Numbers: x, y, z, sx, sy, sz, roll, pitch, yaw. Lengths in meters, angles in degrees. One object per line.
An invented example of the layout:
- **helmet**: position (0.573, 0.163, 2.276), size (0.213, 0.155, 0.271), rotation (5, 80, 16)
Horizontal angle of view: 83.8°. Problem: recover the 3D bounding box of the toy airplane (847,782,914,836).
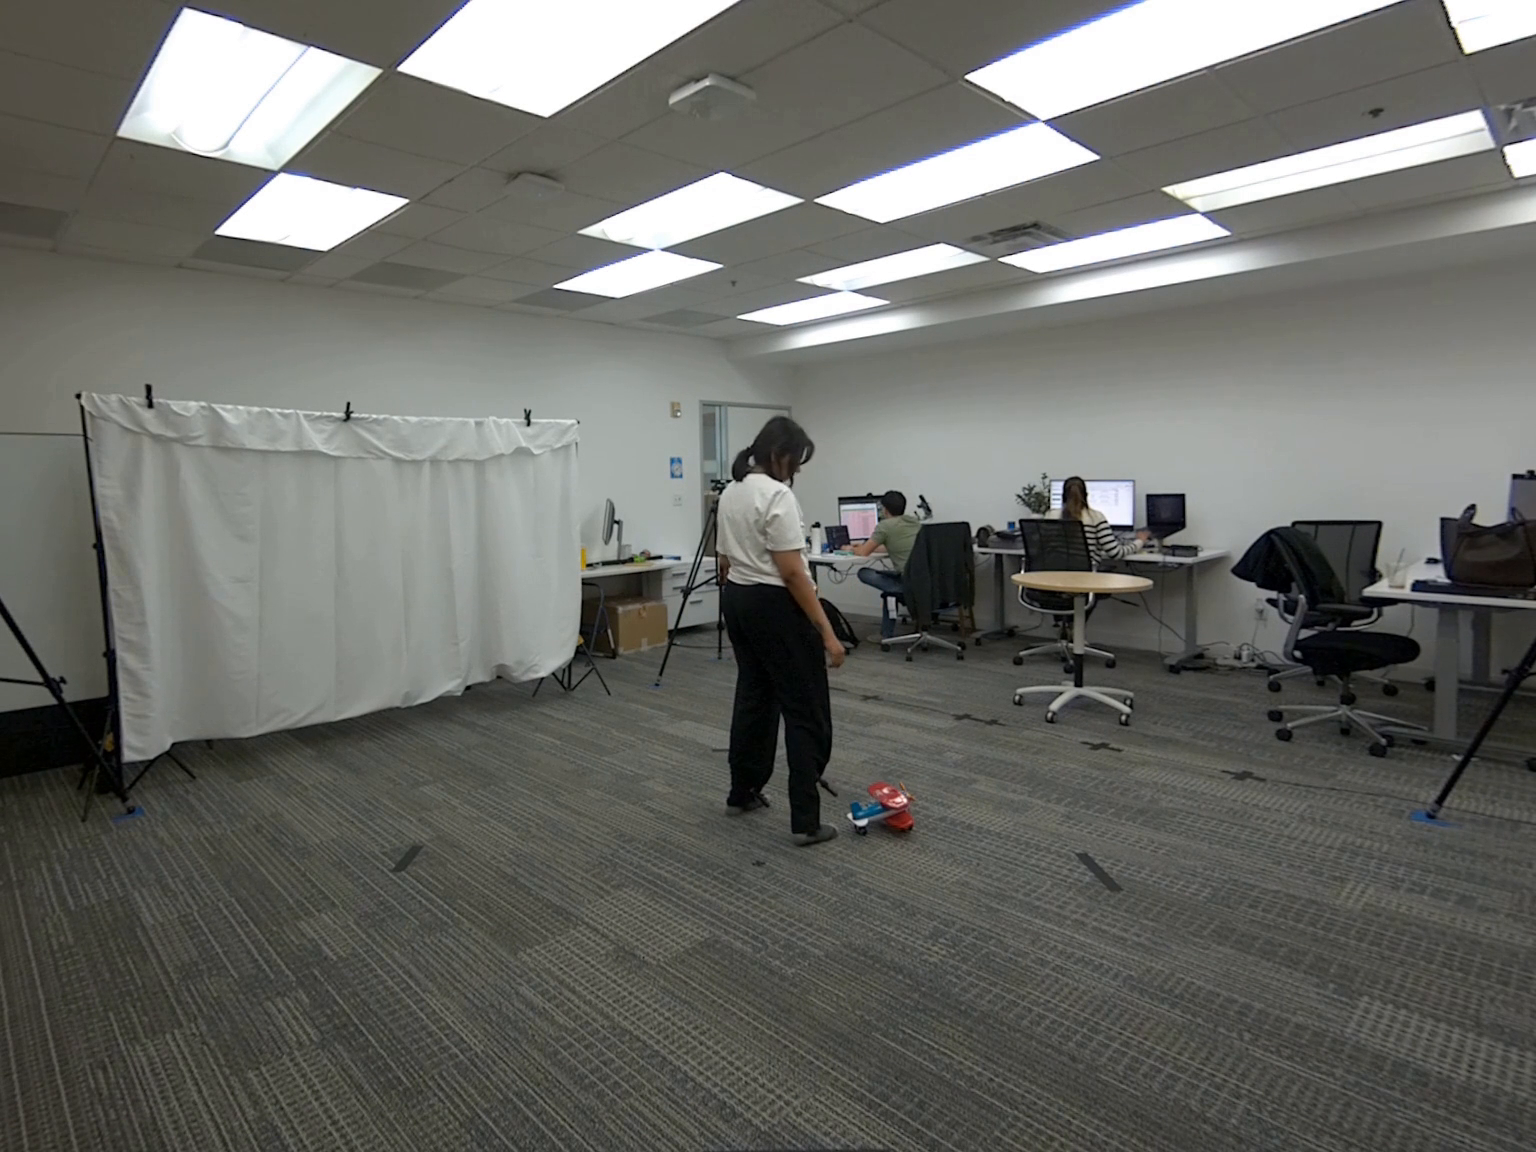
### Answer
- **toy airplane**: position (0.463, 0.937, 3.373), size (0.252, 0.156, 0.259), rotation (-5, 7, -44)
